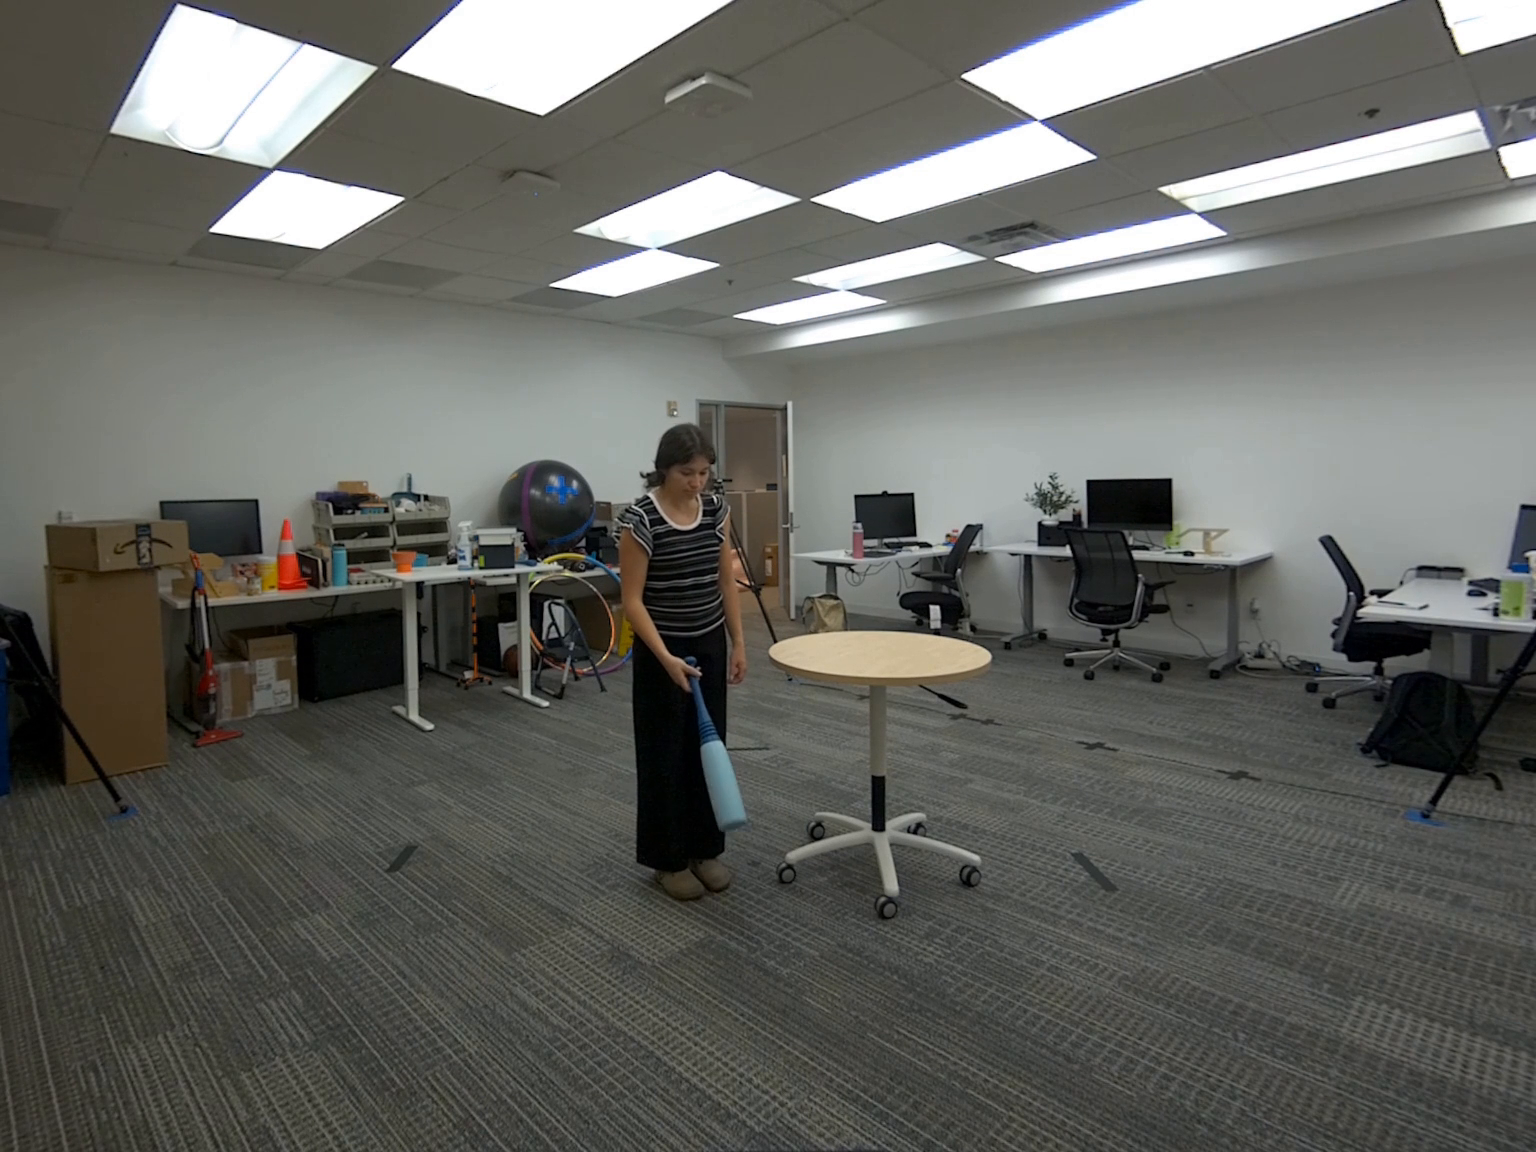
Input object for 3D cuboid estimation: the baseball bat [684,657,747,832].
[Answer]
[{"bbox_3d":[-0.182,0.499,2.584,0.088,0.560,0.087,-12,-31,-9],"label":"baseball bat"}]
